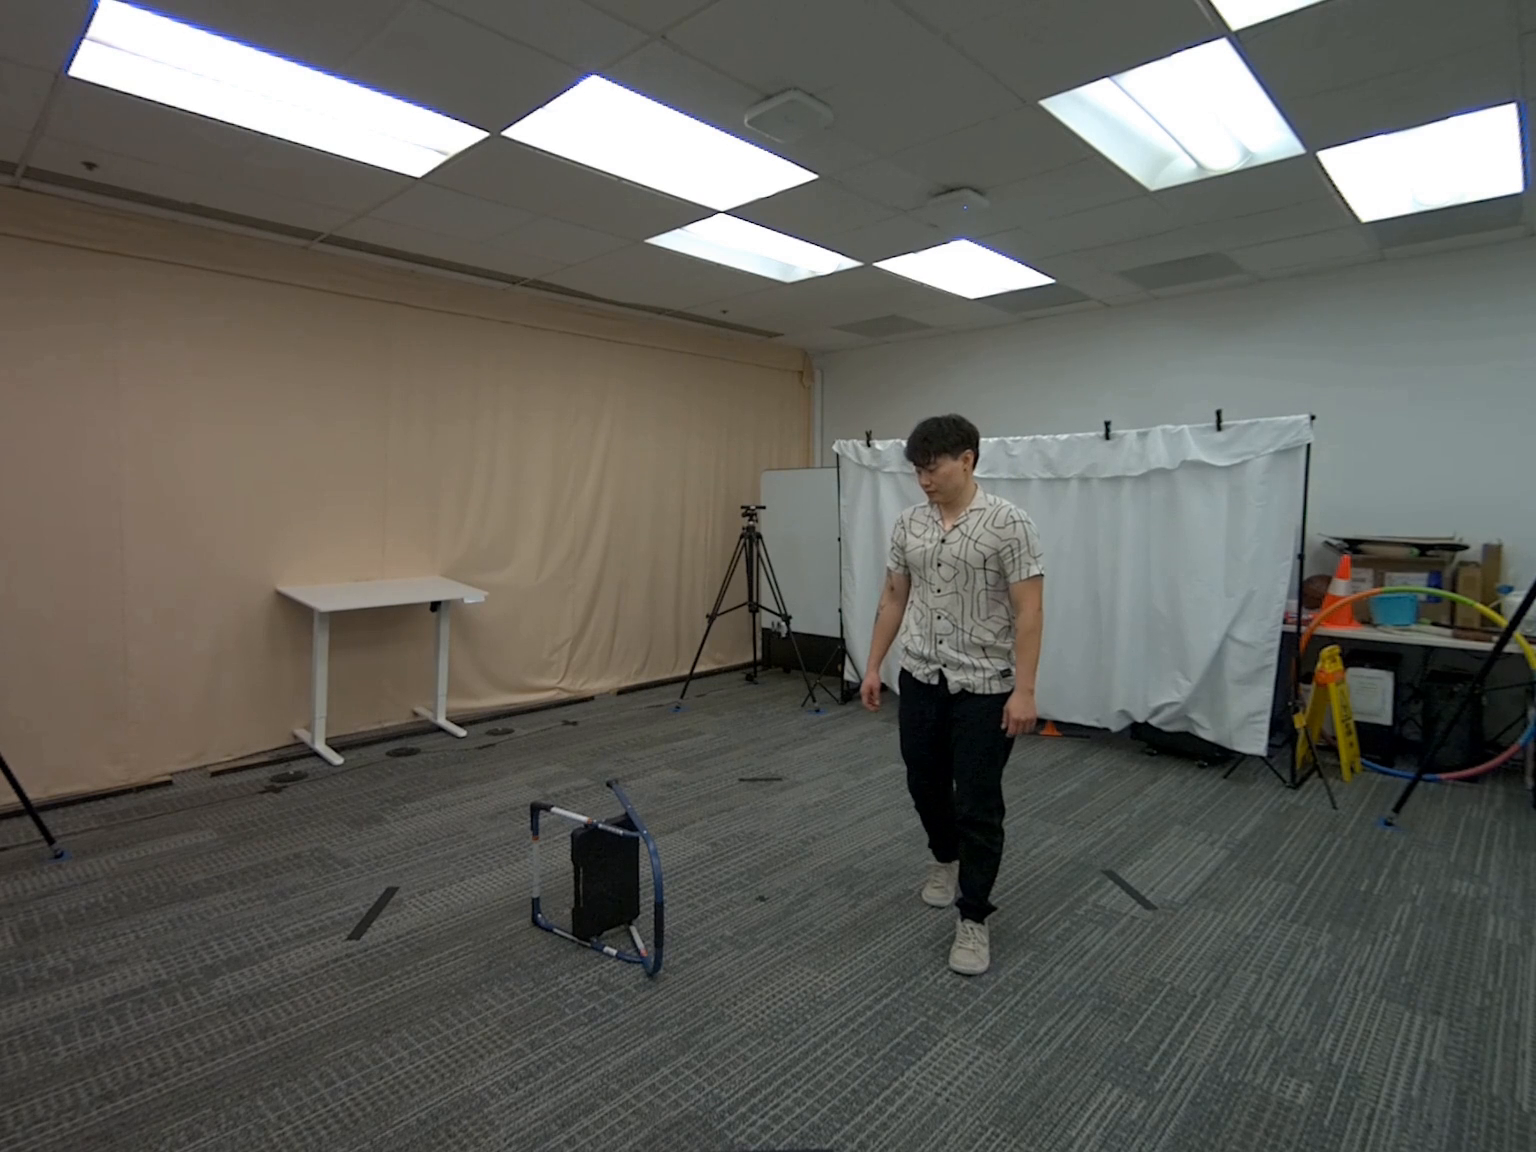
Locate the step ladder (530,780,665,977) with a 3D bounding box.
[{"bbox_3d":[-0.460,0.970,2.672,0.339,0.429,0.626,-5,6,-41],"label":"step ladder"}]
